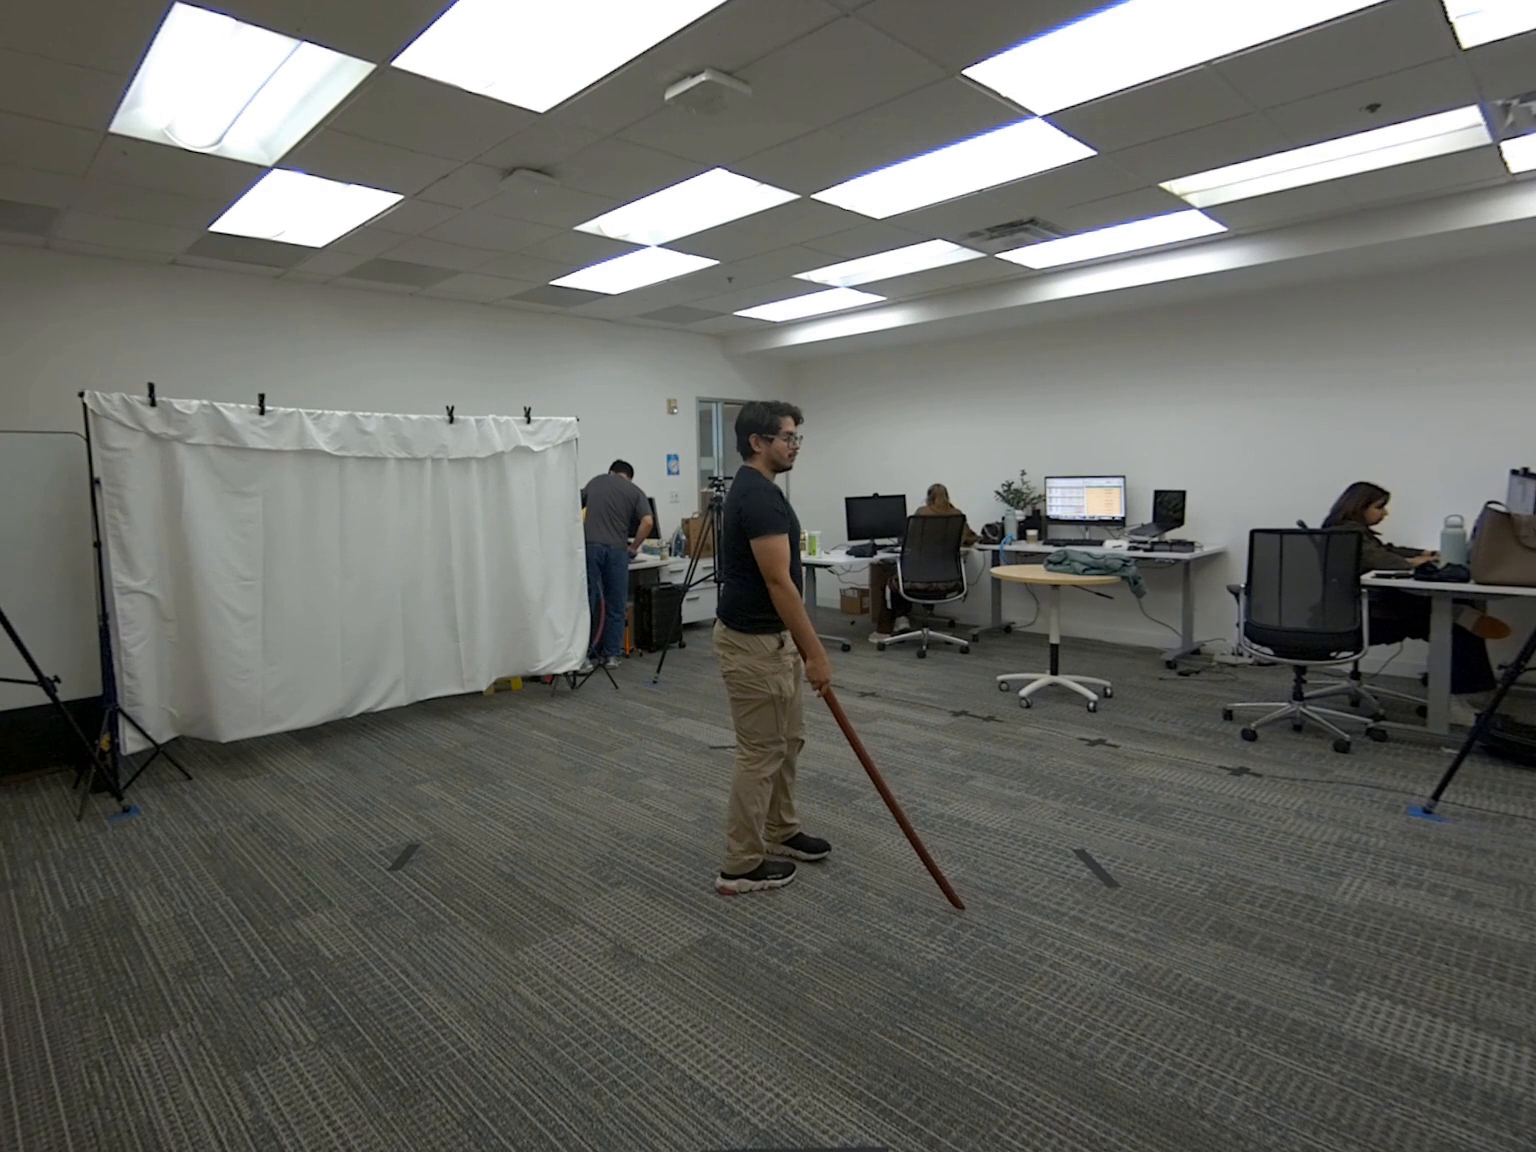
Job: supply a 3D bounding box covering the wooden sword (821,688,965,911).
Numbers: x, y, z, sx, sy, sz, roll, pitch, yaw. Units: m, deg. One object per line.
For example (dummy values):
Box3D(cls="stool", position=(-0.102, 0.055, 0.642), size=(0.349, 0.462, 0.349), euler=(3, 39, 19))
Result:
Box3D(cls="wooden sword", position=(0.346, 0.620, 2.757), size=(0.024, 1.029, 0.051), euler=(-29, -4, -24))
